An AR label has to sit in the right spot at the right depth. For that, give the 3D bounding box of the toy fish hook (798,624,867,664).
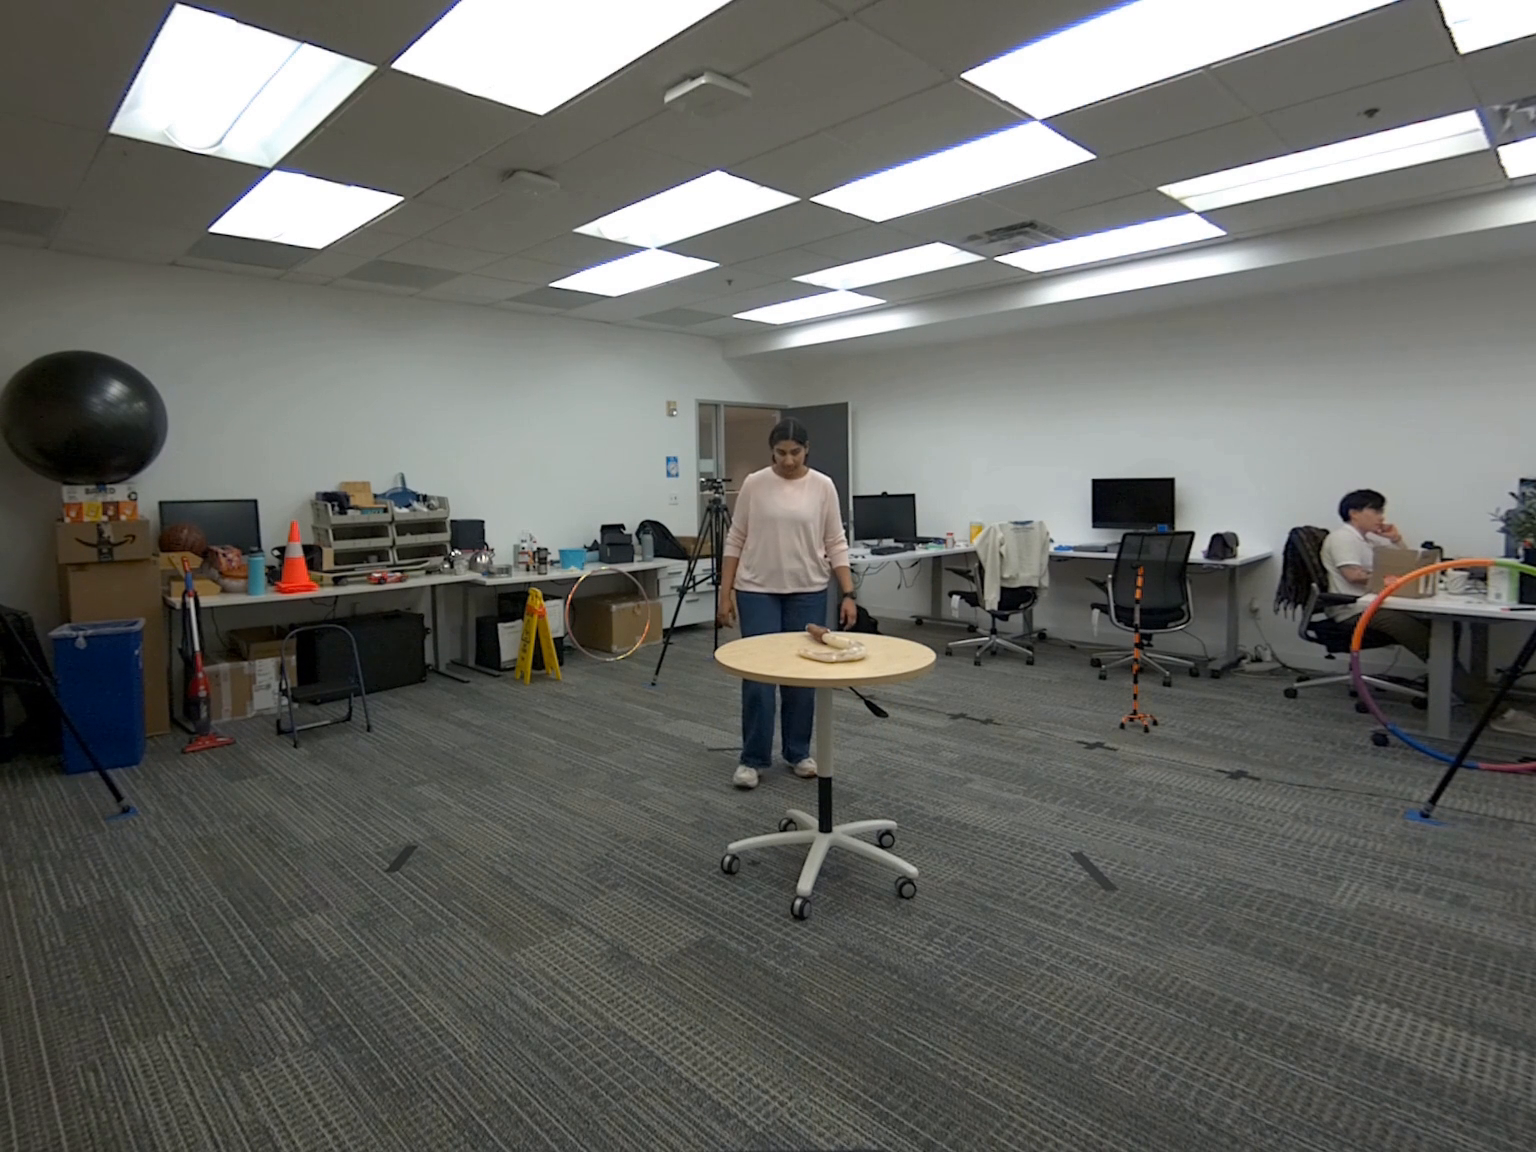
[{"bbox_3d":[0.189,0.242,3.069,0.222,0.048,0.515,-1,7,-13],"label":"toy fish hook"}]
